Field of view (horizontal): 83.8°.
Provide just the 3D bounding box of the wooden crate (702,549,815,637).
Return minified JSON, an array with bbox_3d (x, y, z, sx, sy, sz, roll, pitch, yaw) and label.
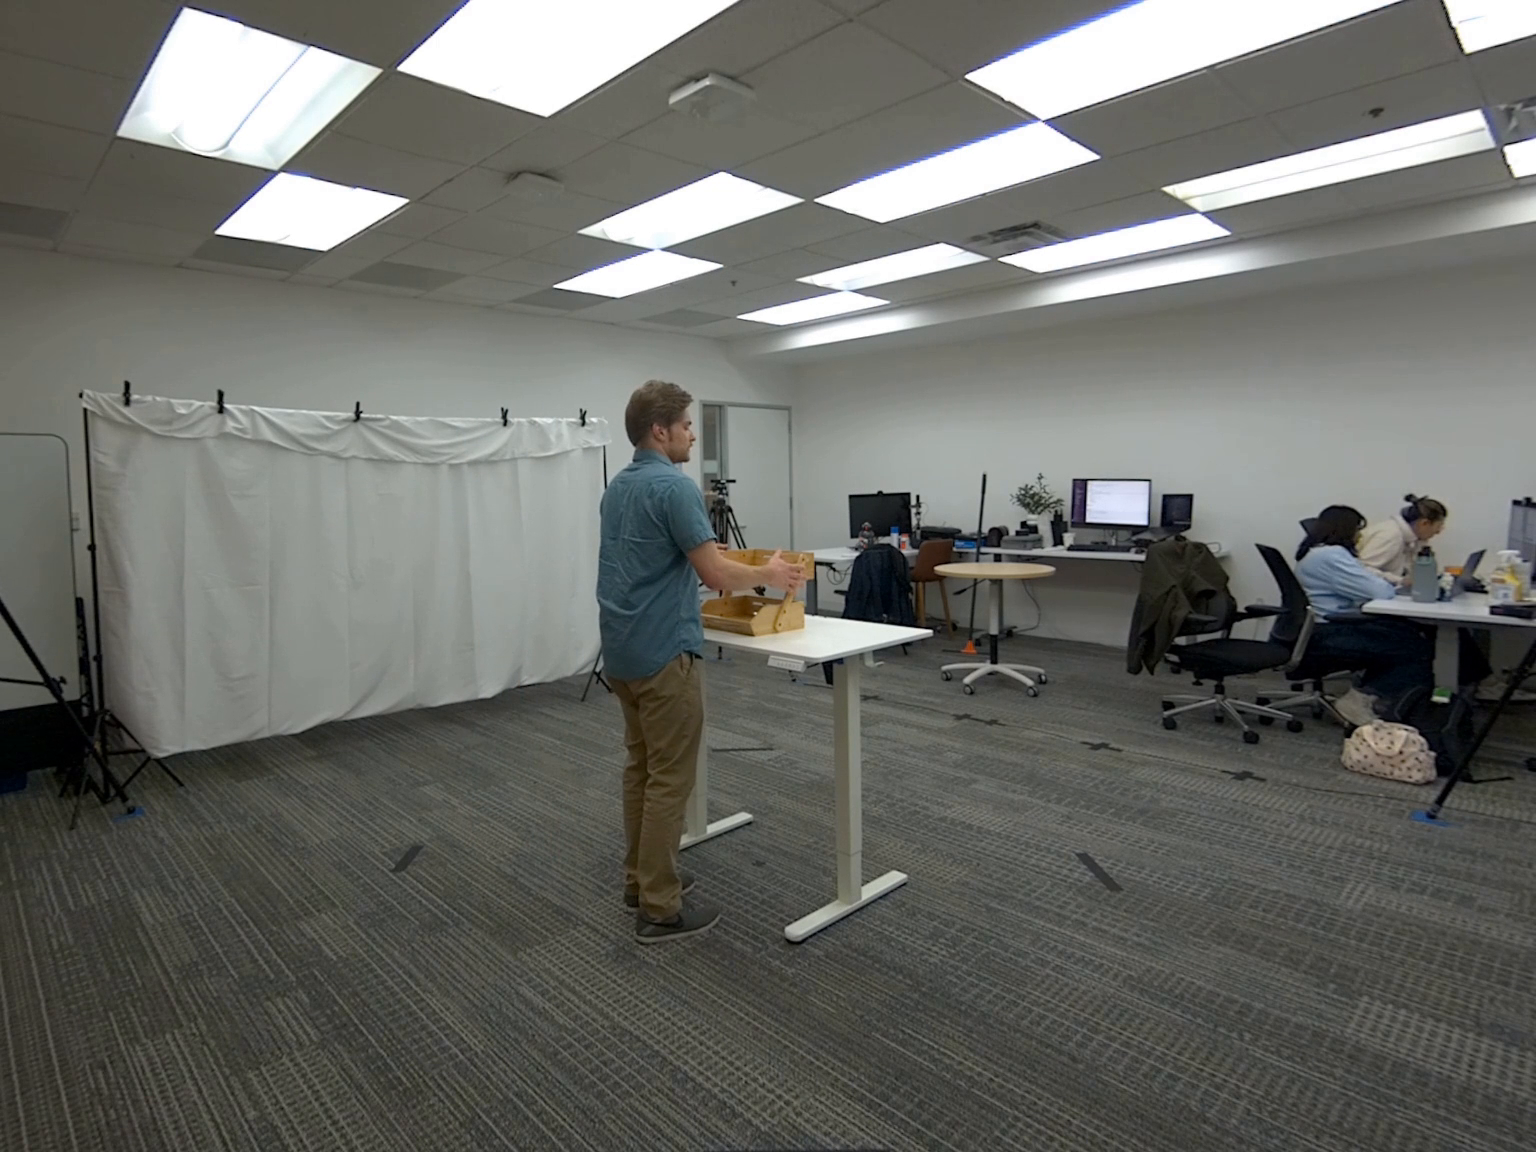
[{"bbox_3d":[-0.050,0.046,2.984,0.294,0.272,0.334,-4,6,-42],"label":"wooden crate"}]
